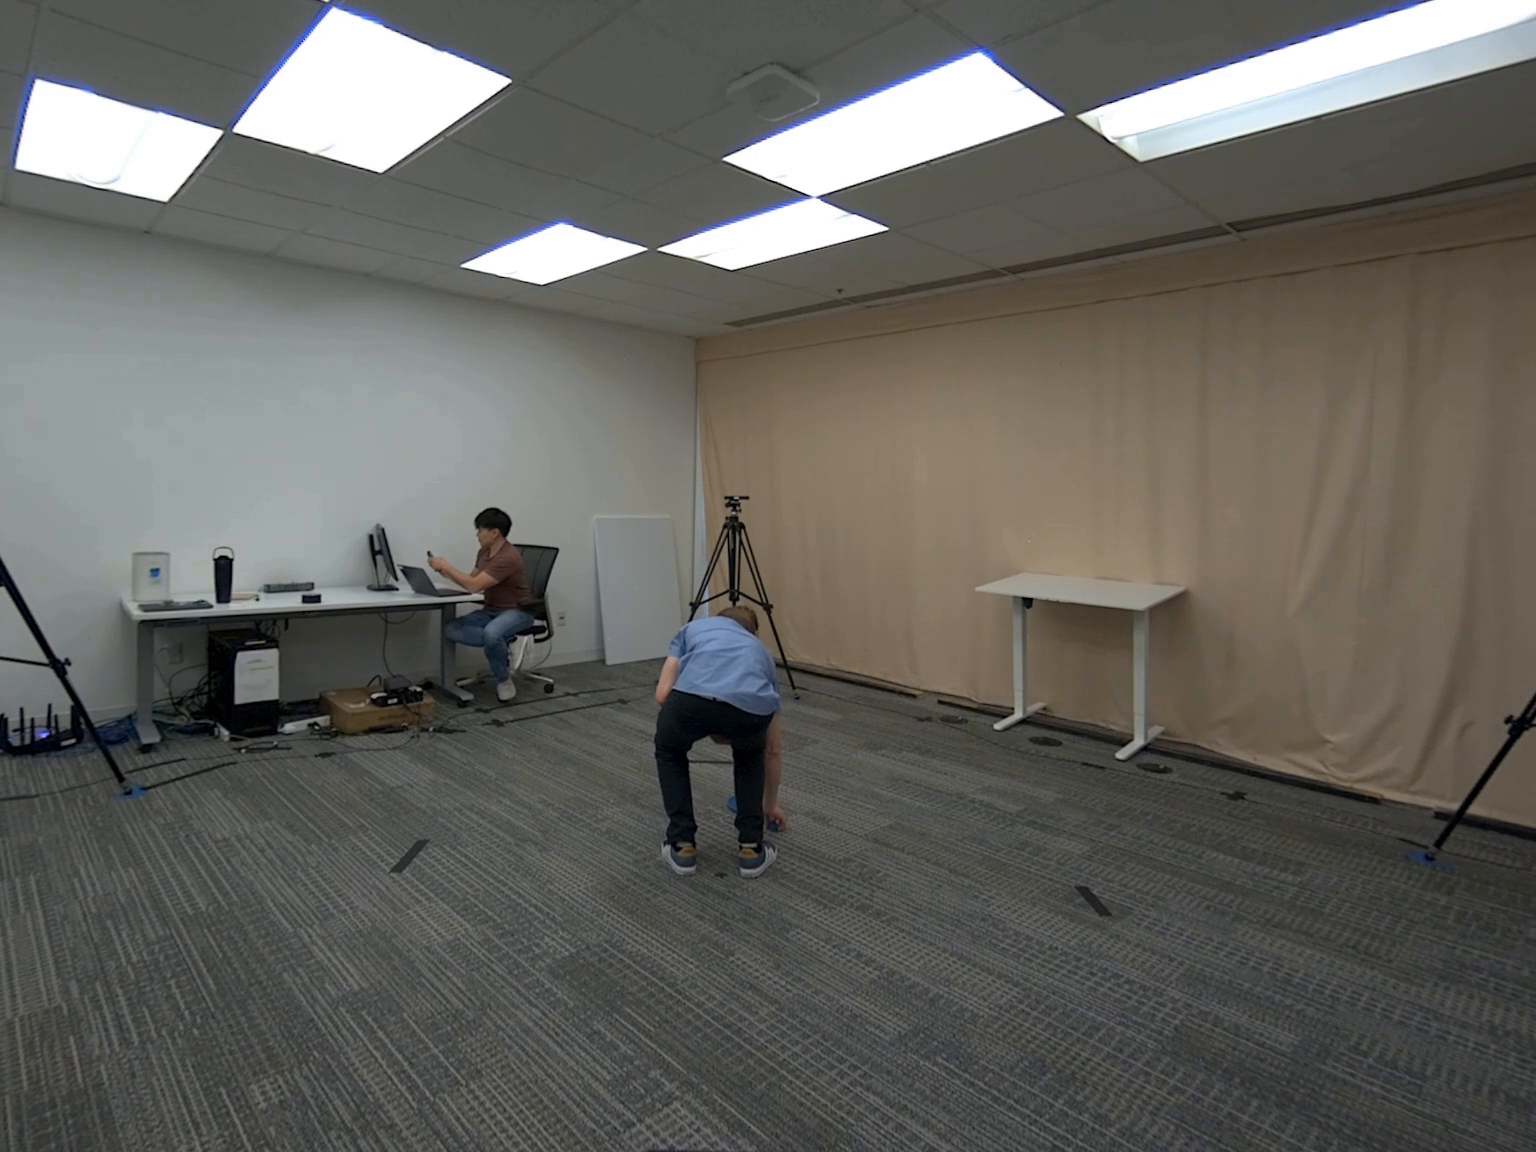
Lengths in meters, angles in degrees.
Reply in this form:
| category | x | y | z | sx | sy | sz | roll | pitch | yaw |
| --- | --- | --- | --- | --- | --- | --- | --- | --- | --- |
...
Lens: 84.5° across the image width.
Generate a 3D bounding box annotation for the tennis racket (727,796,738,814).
| category | x | y | z | sx | sy | sz | roll | pitch | yaw |
| --- | --- | --- | --- | --- | --- | --- | --- | --- | --- |
| tennis racket | -0.048 | 1.039 | 3.733 | 0.210 | 0.032 | 0.441 | -1 | 5 | -23 |
